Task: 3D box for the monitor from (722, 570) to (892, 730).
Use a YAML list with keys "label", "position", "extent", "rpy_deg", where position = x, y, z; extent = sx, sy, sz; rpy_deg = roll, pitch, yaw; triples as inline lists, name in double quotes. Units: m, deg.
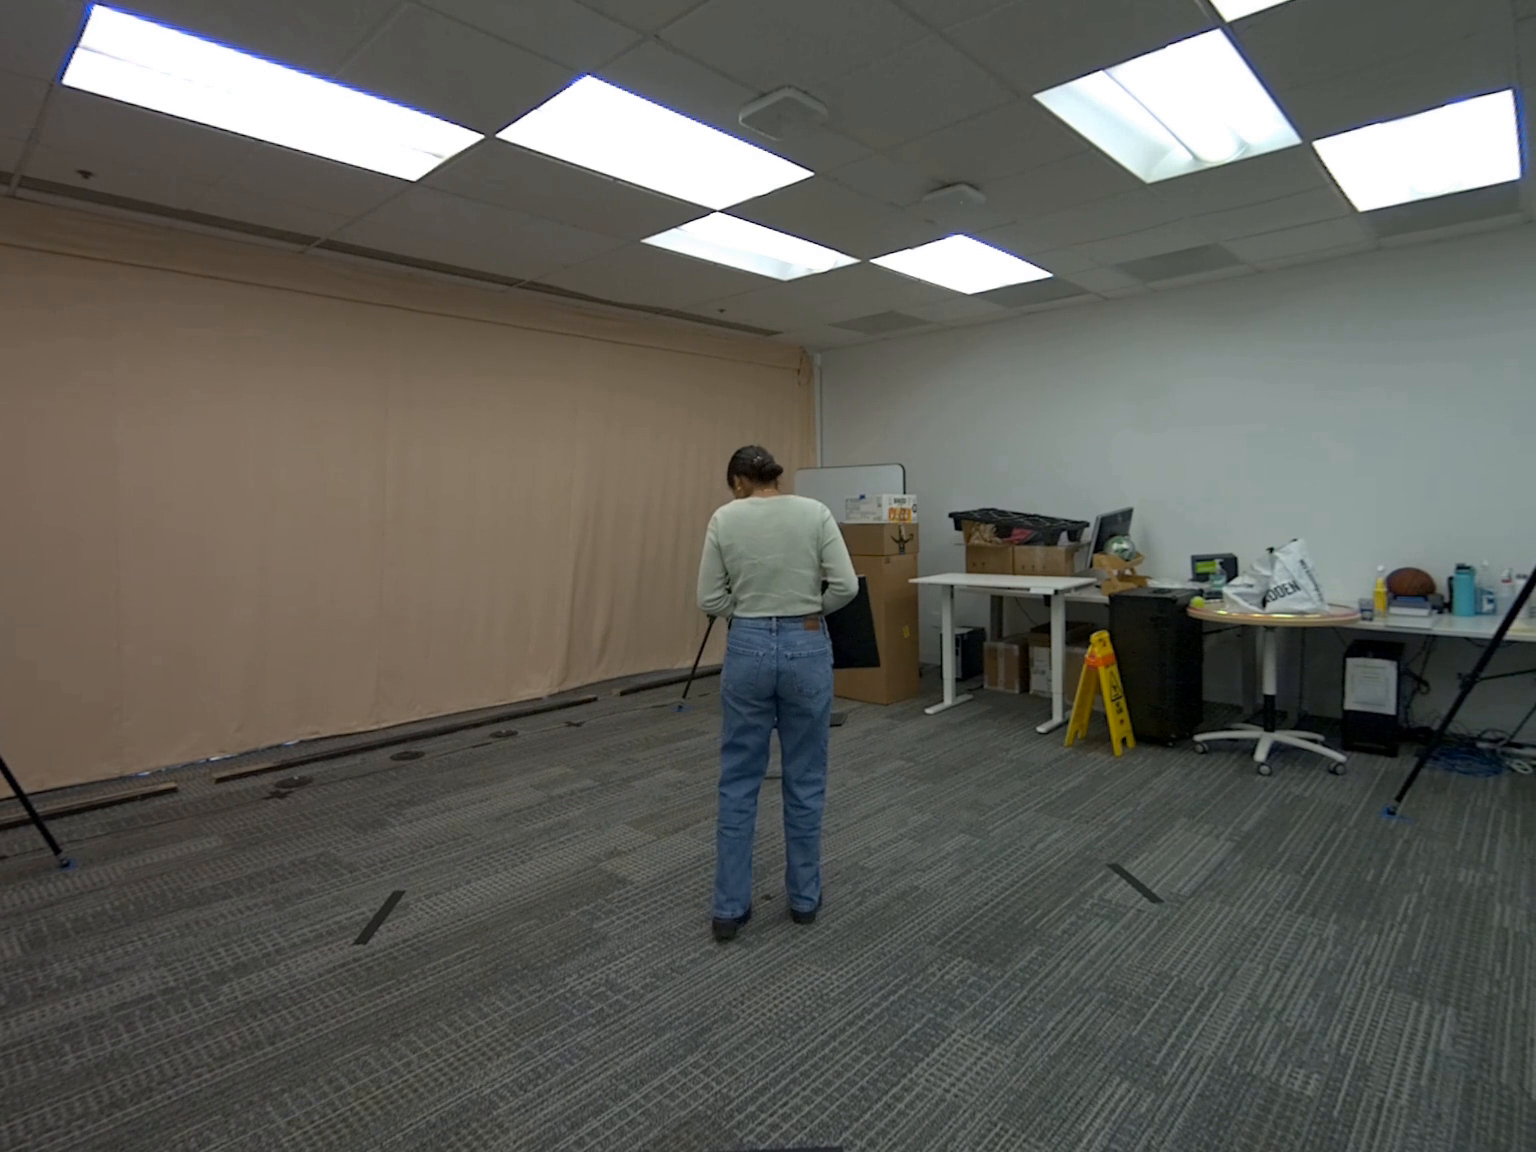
- label: "monitor"
  position: [0.129, 0.264, 2.982]
  extent: [0.539, 0.516, 0.171]
  rpy_deg: [-6, -1, 18]
